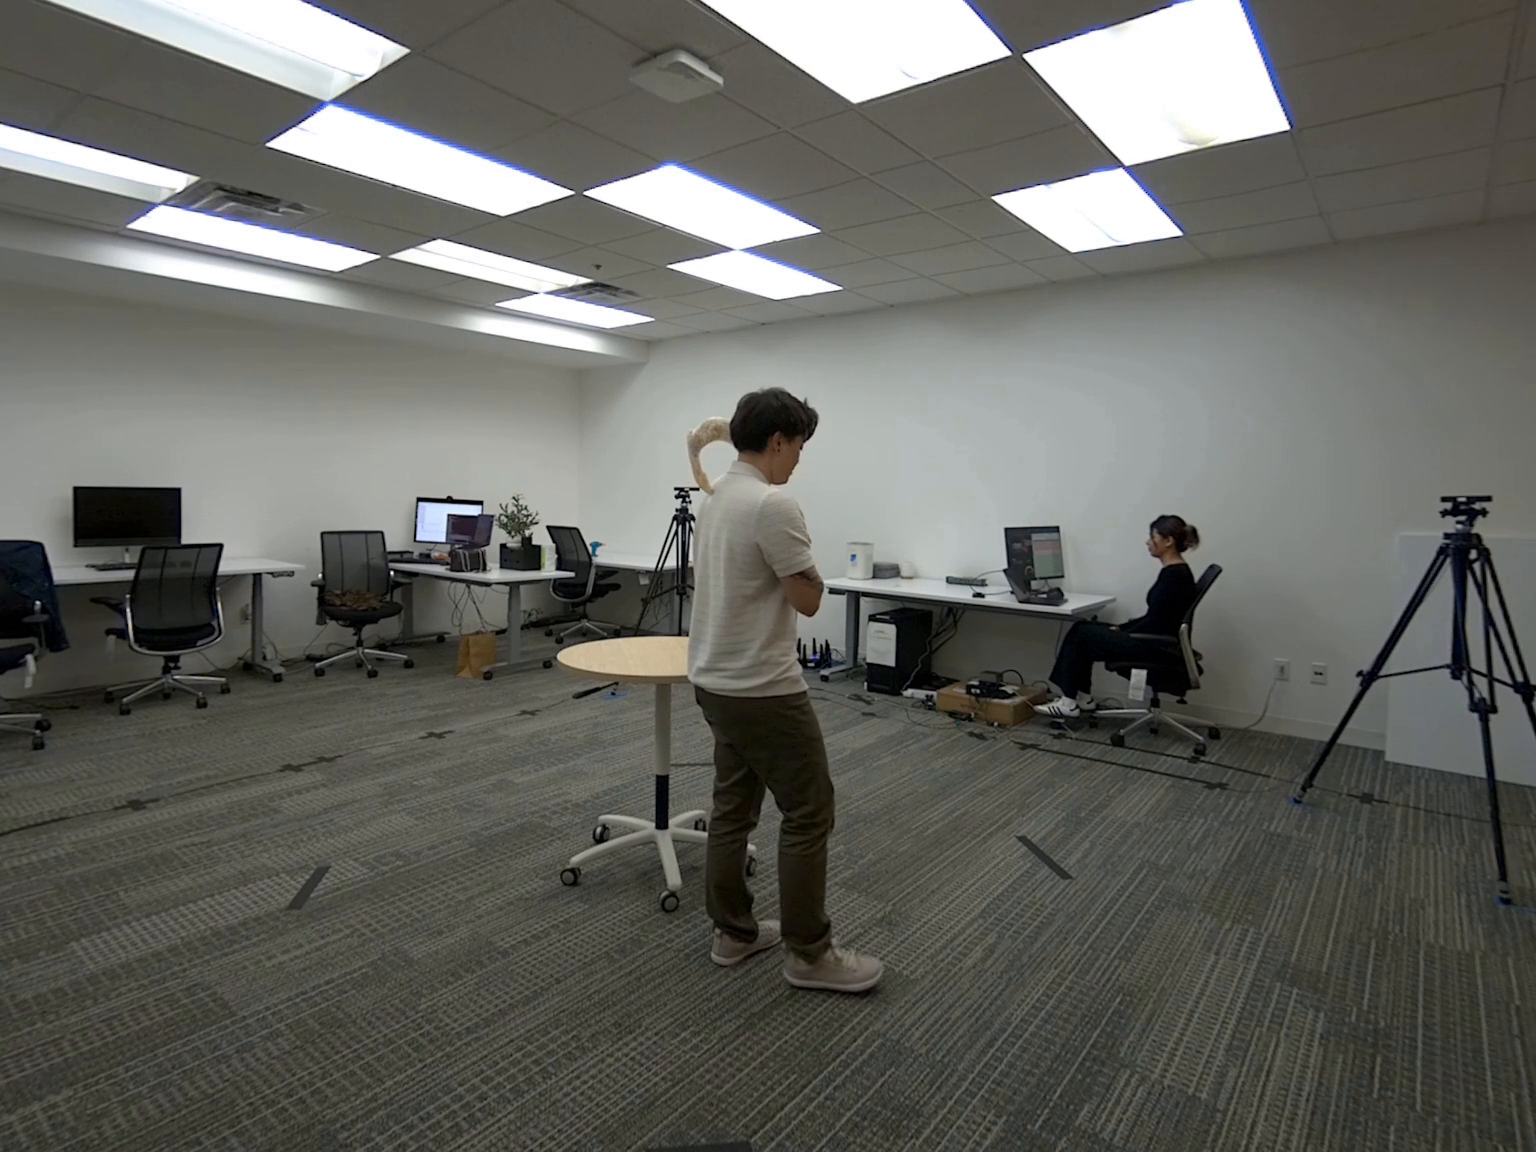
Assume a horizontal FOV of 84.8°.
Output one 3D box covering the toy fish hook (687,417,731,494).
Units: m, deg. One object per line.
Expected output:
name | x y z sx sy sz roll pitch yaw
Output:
toy fish hook | -0.069 -0.236 2.527 0.223 0.505 0.049 -34 3 -24
